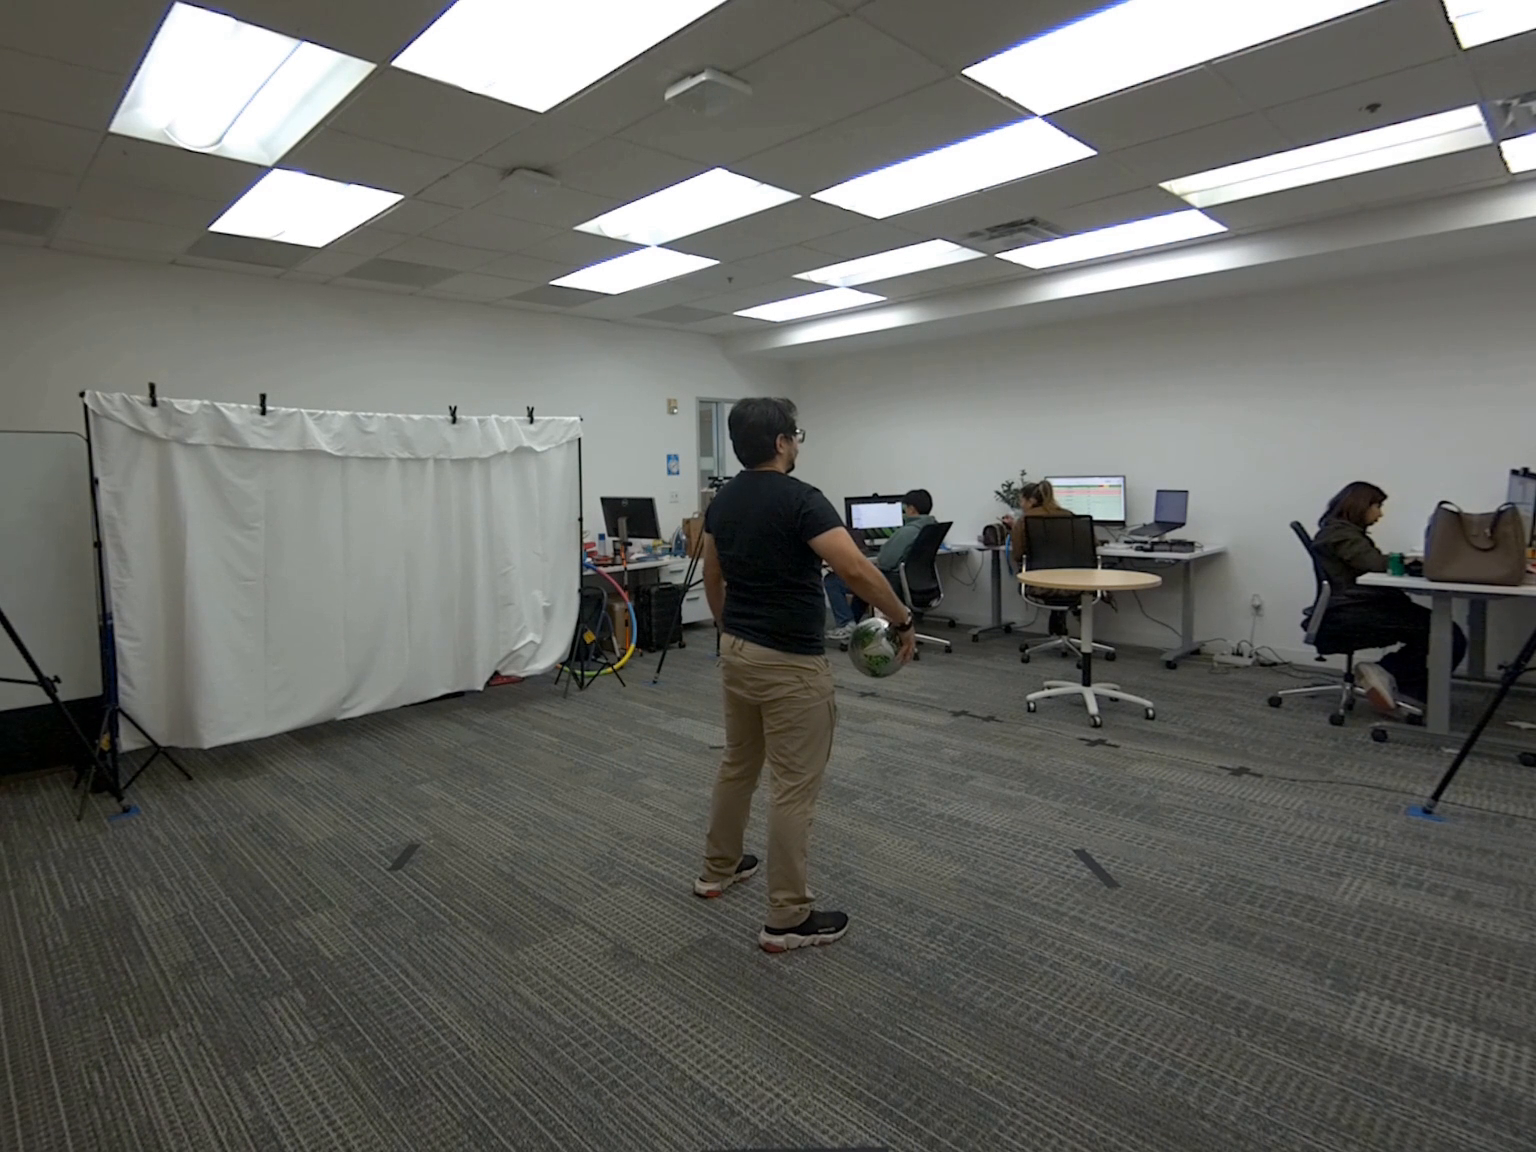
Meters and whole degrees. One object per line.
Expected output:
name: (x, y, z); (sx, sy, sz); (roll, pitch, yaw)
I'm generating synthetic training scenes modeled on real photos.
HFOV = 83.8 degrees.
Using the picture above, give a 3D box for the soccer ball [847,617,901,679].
soccer ball: (0.343, 0.222, 2.631); (0.187, 0.187, 0.188); (-1, 5, -2)
